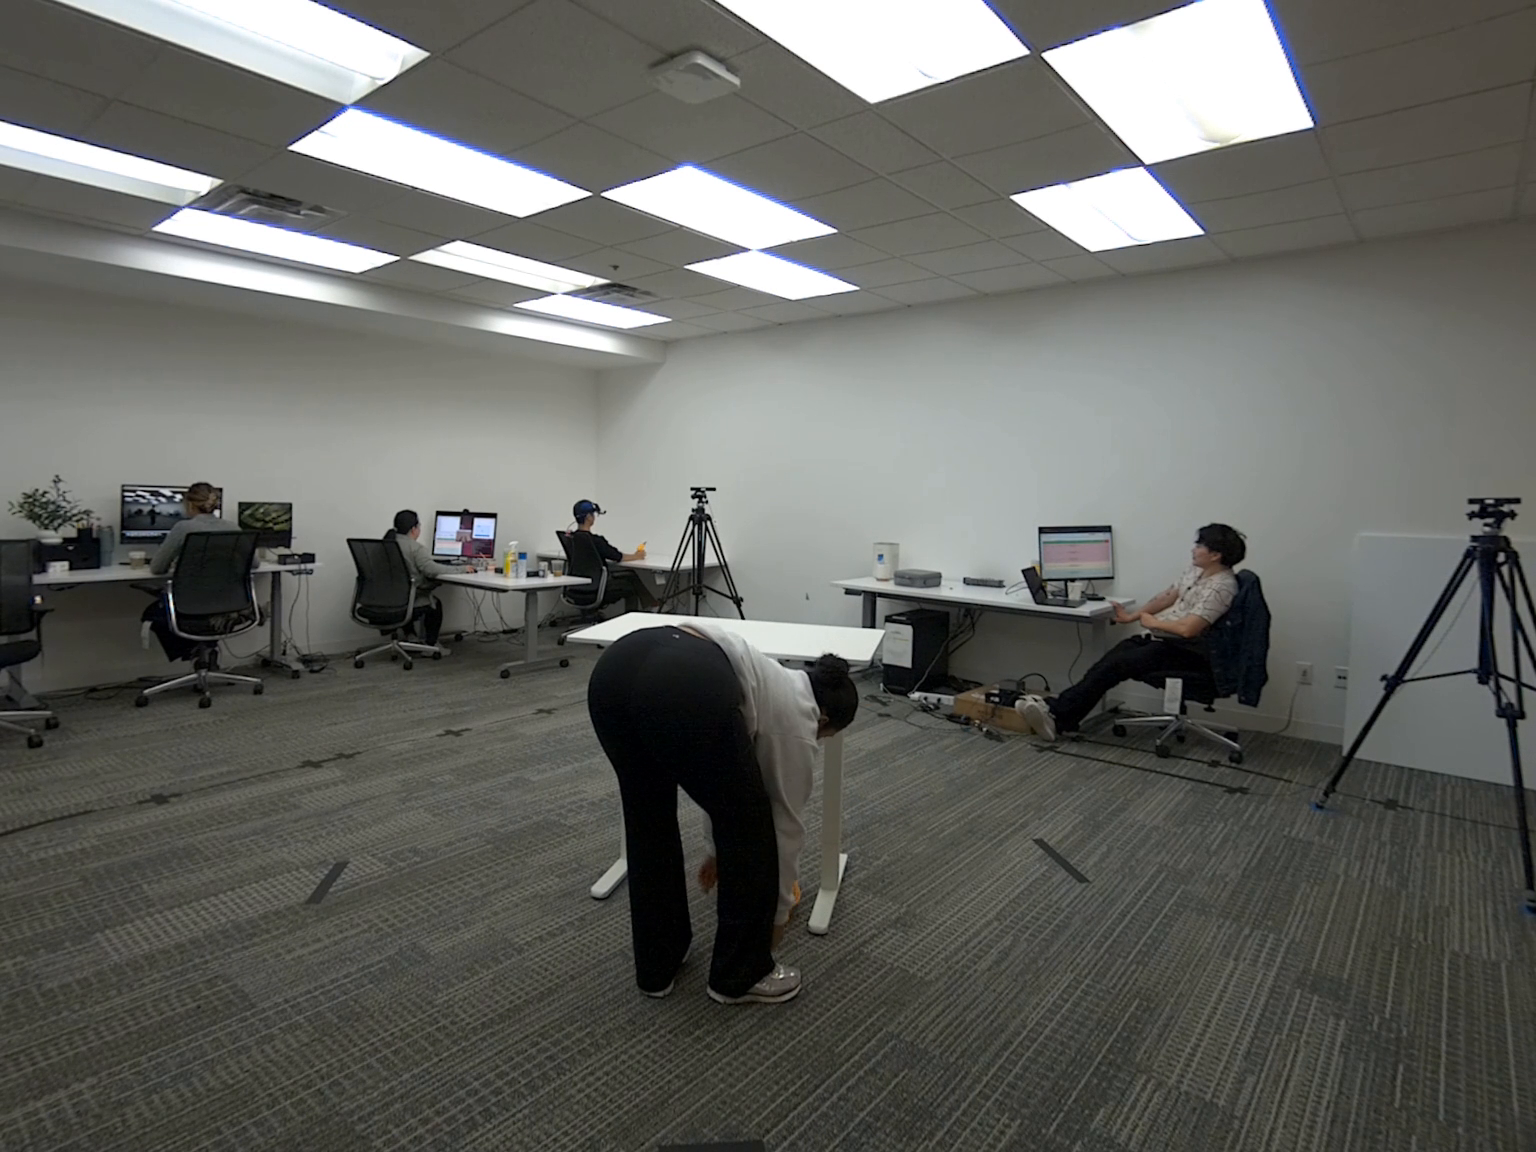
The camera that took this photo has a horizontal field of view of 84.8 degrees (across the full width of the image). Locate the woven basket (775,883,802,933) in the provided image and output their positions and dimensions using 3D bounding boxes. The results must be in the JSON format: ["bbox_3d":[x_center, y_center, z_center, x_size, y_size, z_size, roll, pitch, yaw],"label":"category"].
[{"bbox_3d":[-0.026,1.050,2.838,0.252,0.073,0.352,0,5,-3],"label":"woven basket"}]
